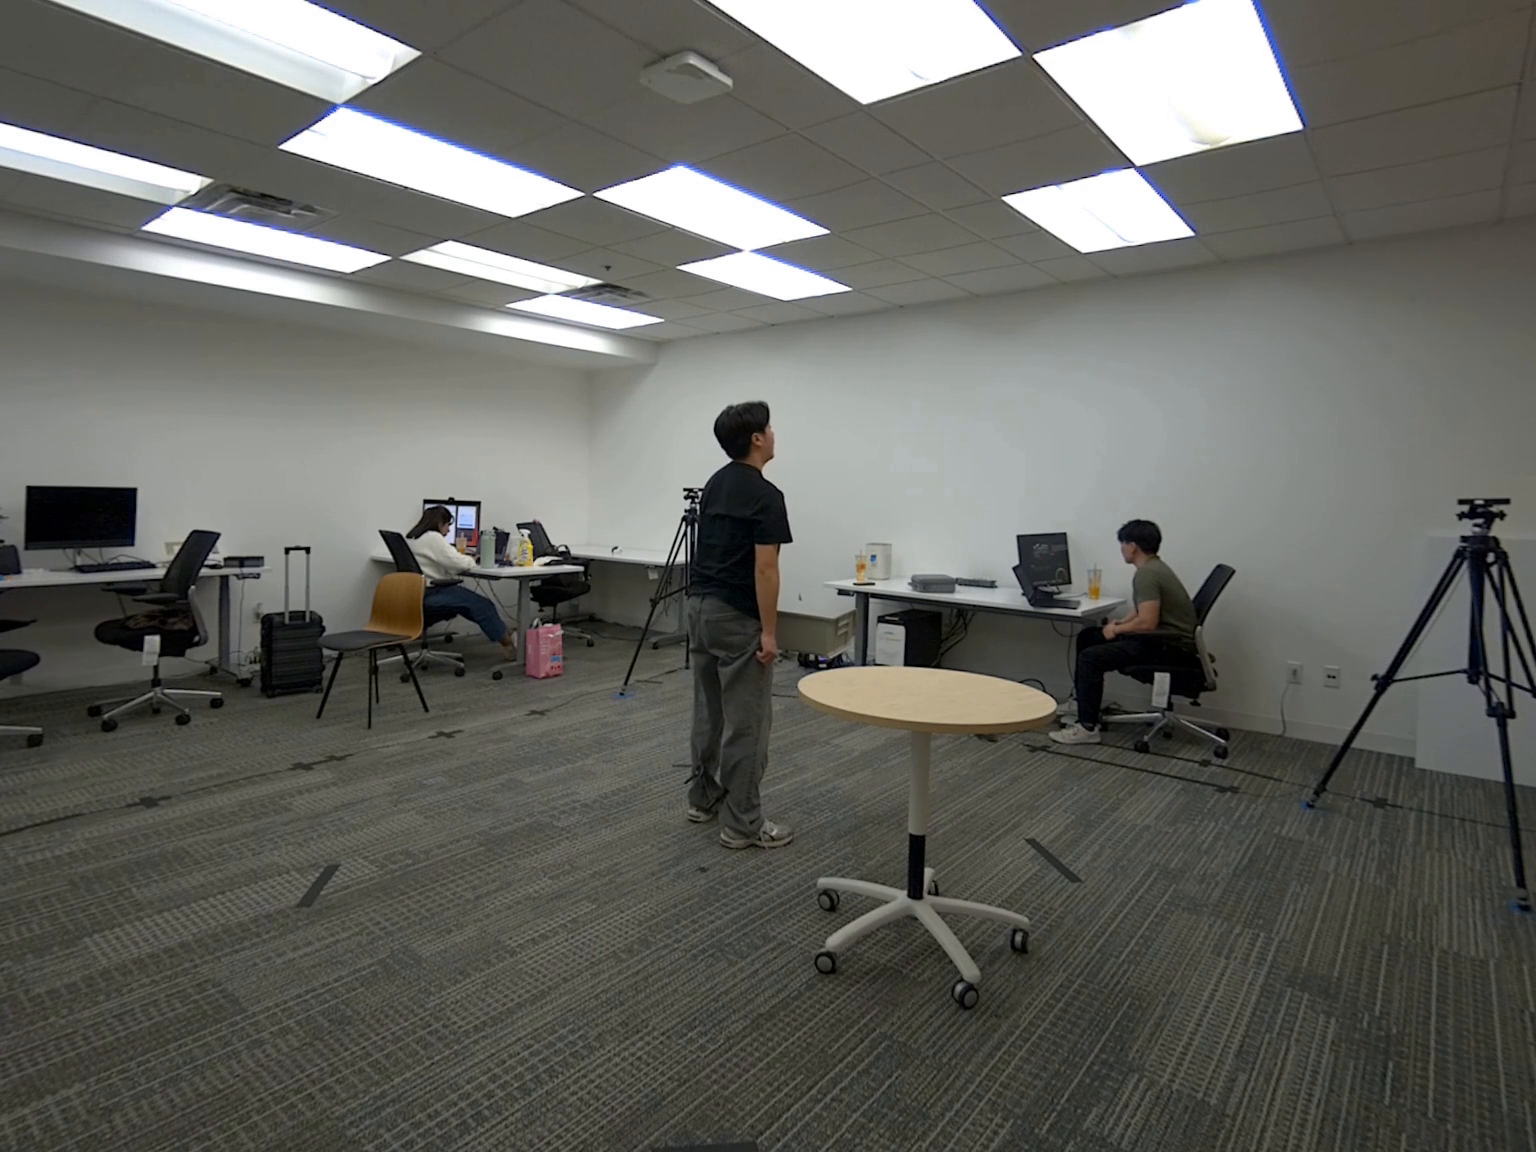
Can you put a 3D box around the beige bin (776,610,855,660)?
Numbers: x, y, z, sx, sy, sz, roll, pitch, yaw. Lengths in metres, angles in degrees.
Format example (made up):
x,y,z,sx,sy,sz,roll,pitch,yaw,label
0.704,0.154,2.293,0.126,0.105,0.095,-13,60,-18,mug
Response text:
x,y,z,sx,sy,sz,roll,pitch,yaw,label
0.133,0.223,3.819,0.433,0.187,0.370,7,10,24,beige bin
